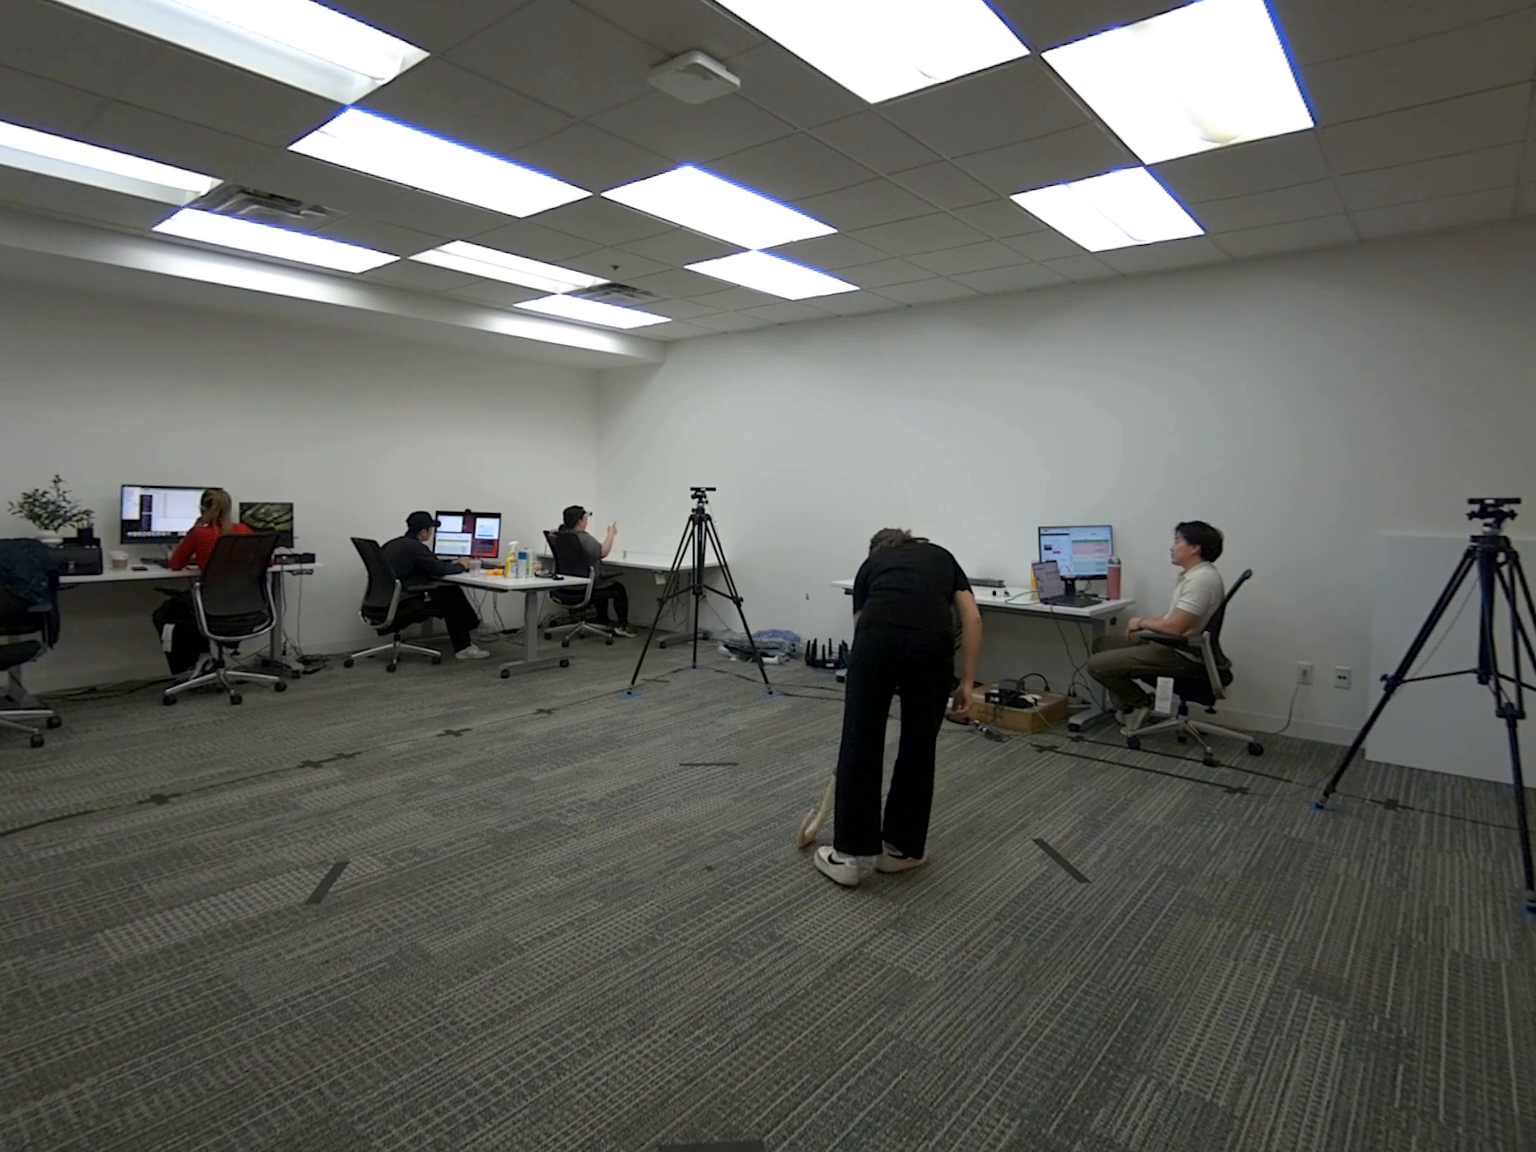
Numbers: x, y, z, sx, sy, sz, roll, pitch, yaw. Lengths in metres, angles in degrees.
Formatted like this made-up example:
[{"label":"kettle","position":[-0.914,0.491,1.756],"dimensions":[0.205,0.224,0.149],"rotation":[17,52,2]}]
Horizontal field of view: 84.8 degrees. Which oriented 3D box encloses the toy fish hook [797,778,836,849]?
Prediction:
[{"label":"toy fish hook","position":[0.221,0.825,3.277],"dimensions":[0.050,0.503,0.220],"rotation":[26,15,21]}]
